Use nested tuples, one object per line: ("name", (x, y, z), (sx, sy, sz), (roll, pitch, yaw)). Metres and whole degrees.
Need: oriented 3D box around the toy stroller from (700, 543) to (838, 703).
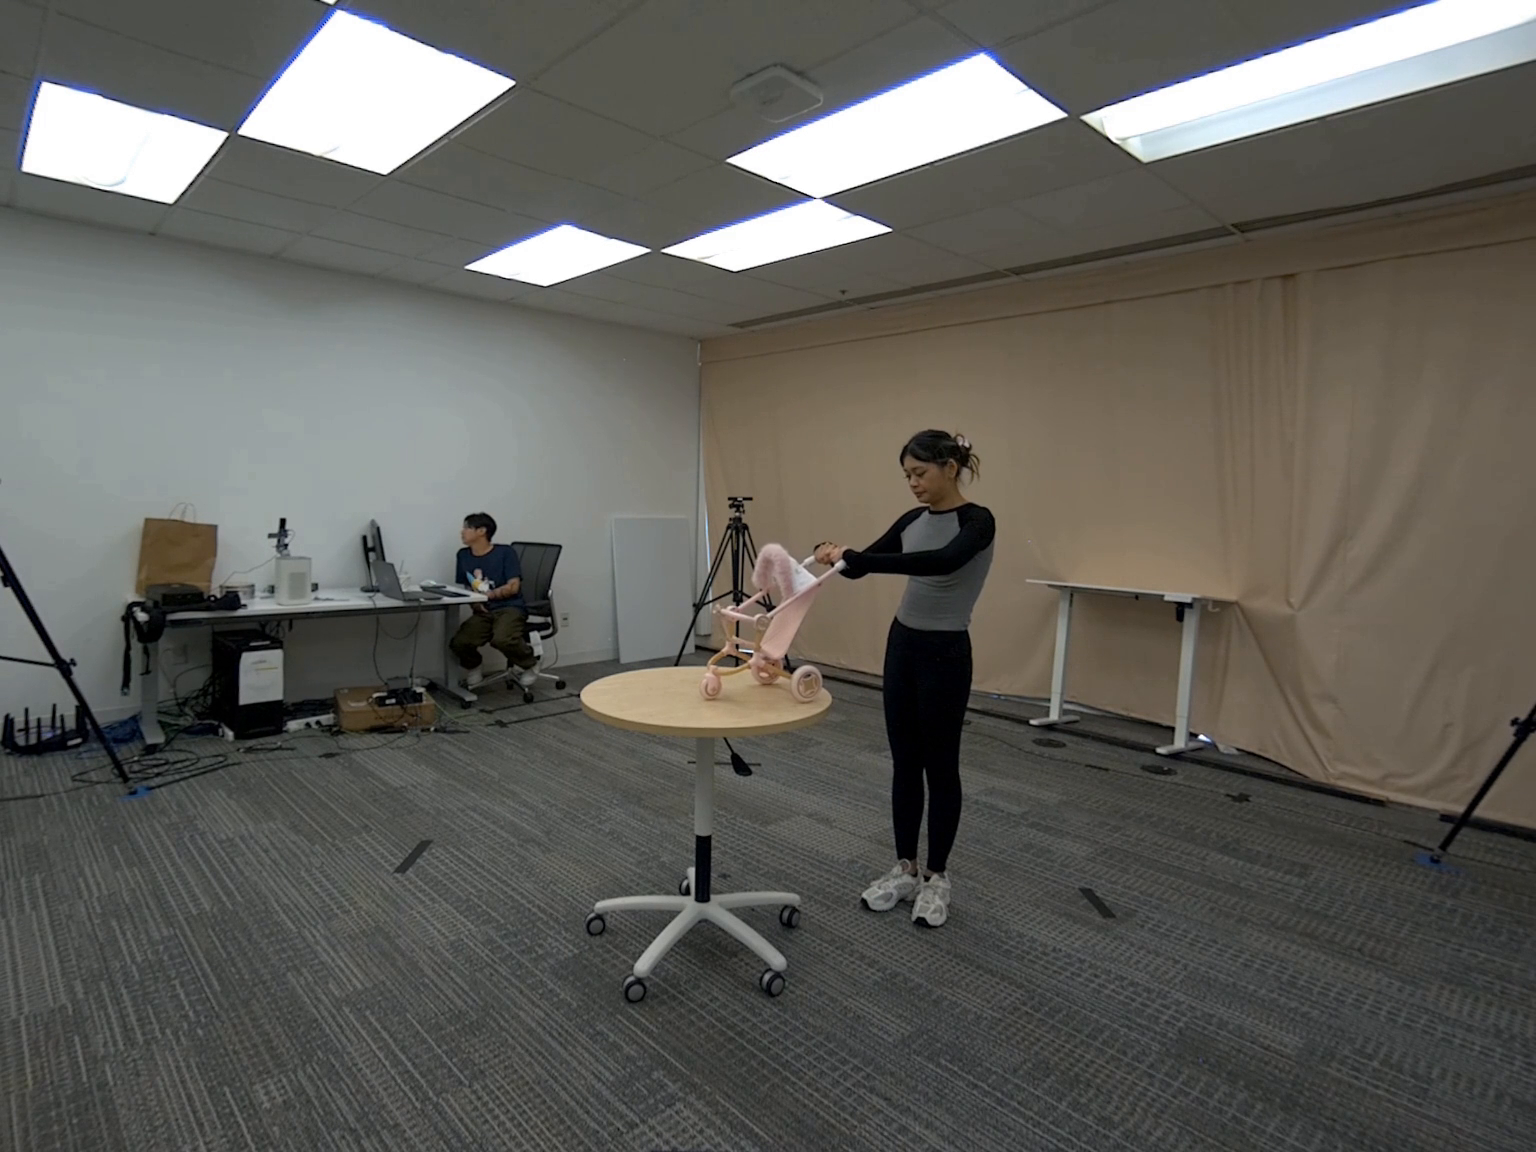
("toy stroller", (-0.002, 0.143, 2.566), (0.334, 0.536, 0.287), (16, -3, -23))
